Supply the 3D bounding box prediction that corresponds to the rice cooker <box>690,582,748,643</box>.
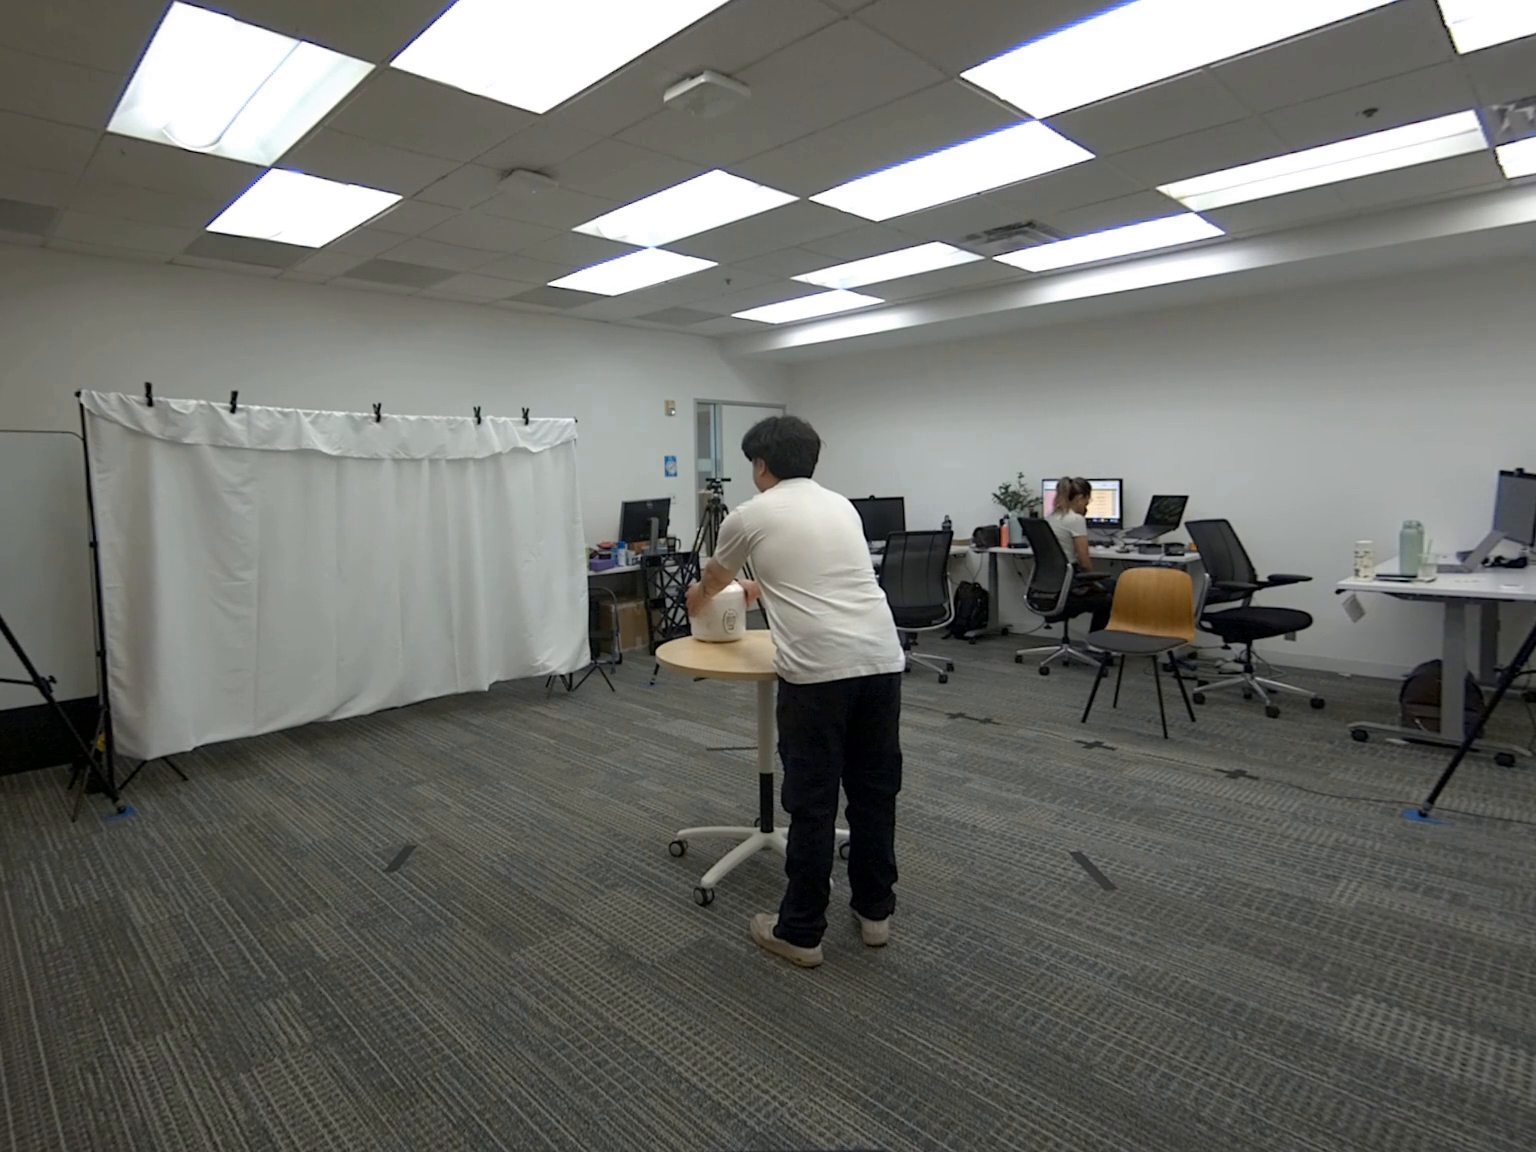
[{"bbox_3d":[-0.182,0.123,3.204,0.216,0.232,0.223,-6,4,-27],"label":"rice cooker"}]
